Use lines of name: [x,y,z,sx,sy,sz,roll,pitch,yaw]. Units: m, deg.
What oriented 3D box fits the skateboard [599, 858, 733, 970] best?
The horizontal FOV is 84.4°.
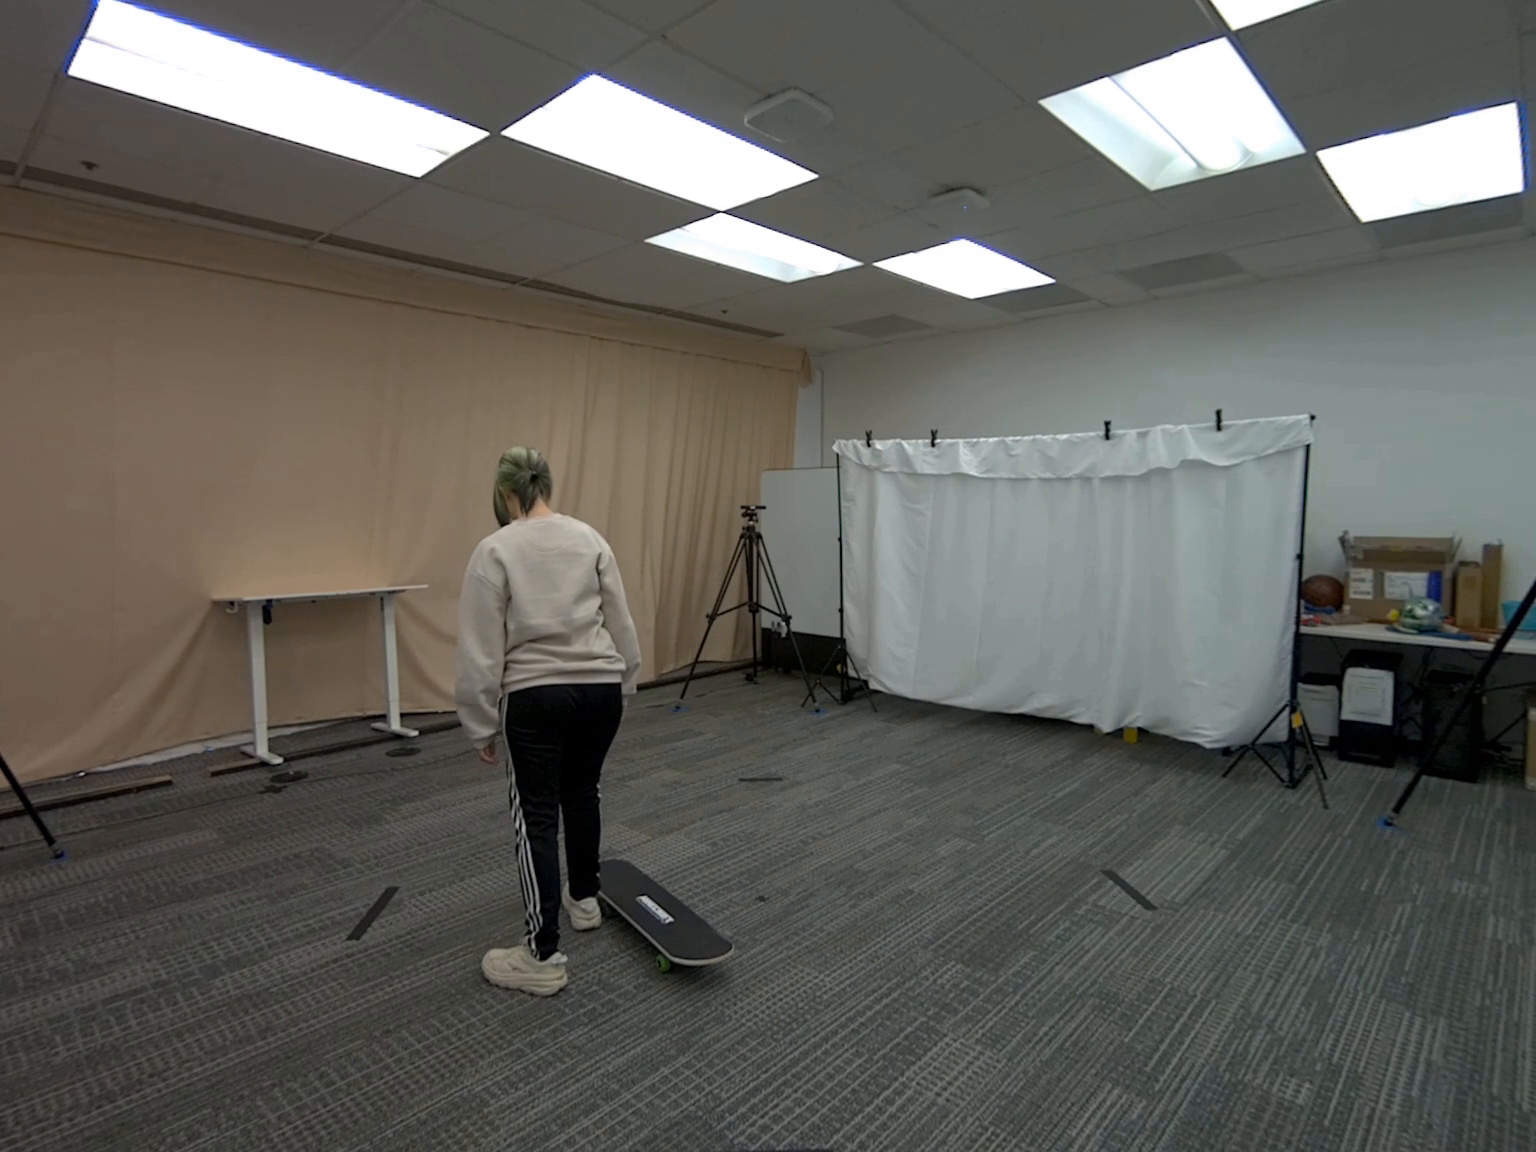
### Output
skateboard: [-0.366,1.106,2.730,0.188,0.110,0.810,-3,6,-35]
